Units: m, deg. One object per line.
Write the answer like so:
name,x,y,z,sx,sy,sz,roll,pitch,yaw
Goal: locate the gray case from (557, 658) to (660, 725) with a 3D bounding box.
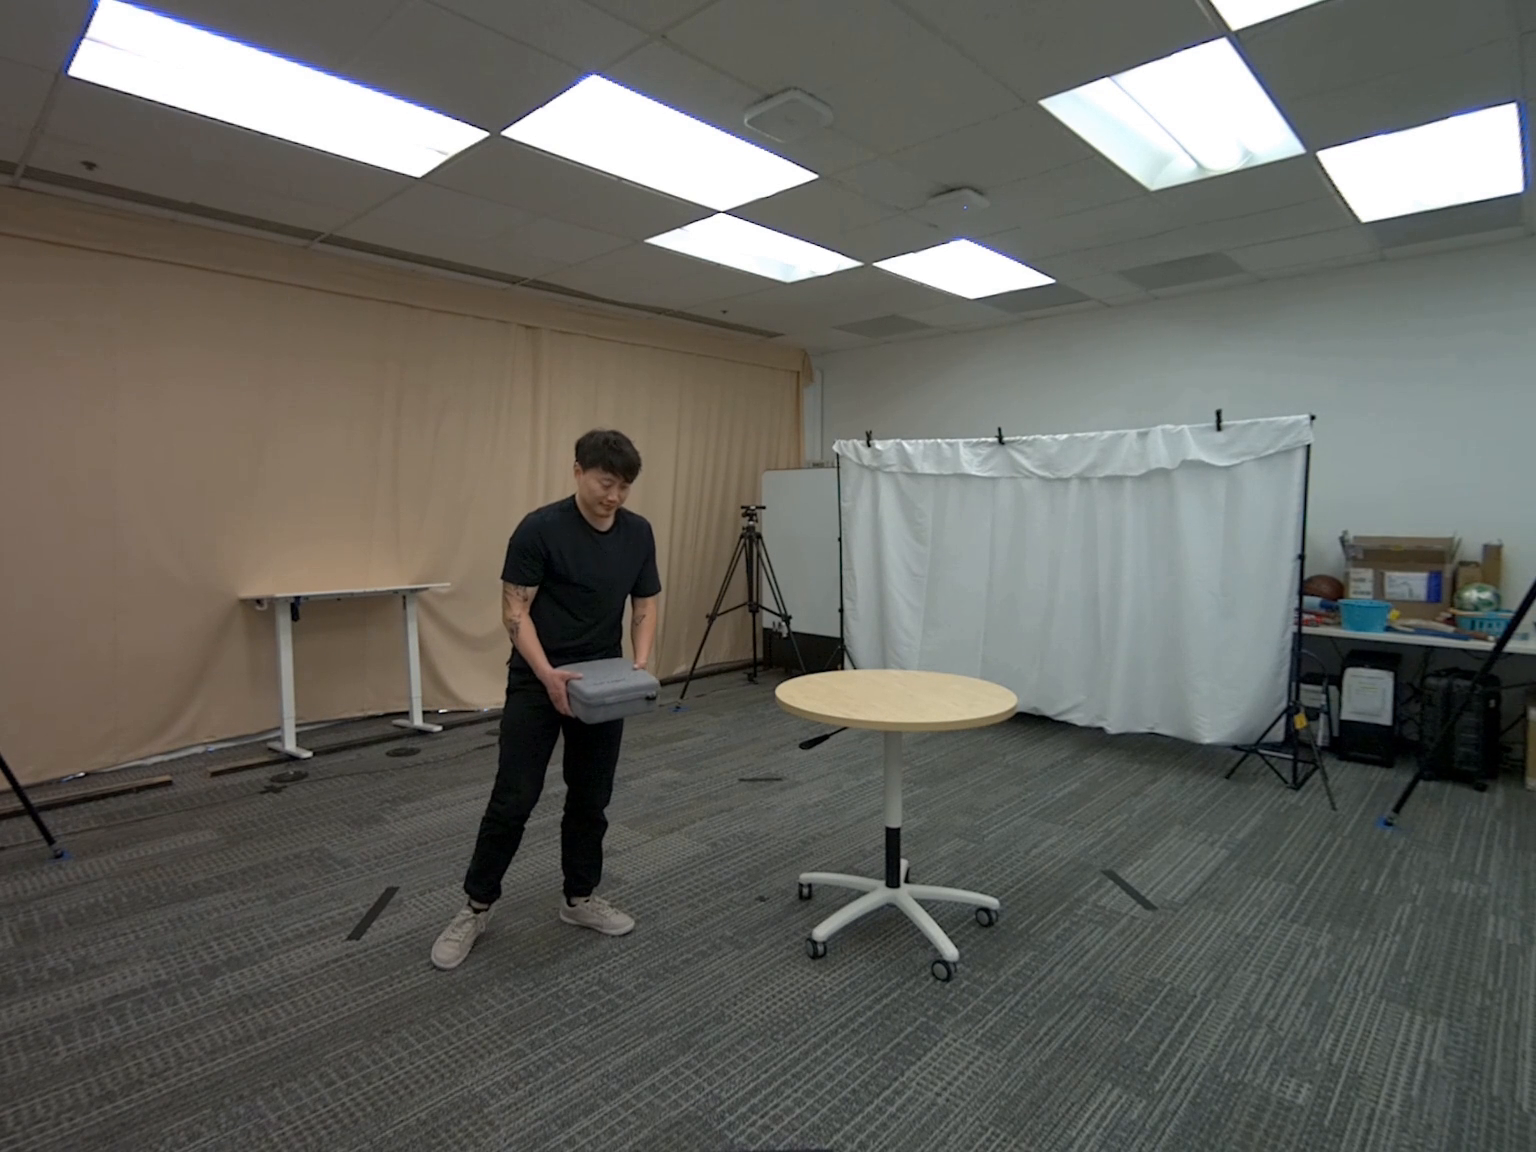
gray case,-0.478,0.344,2.518,0.250,0.103,0.270,-7,16,-36
